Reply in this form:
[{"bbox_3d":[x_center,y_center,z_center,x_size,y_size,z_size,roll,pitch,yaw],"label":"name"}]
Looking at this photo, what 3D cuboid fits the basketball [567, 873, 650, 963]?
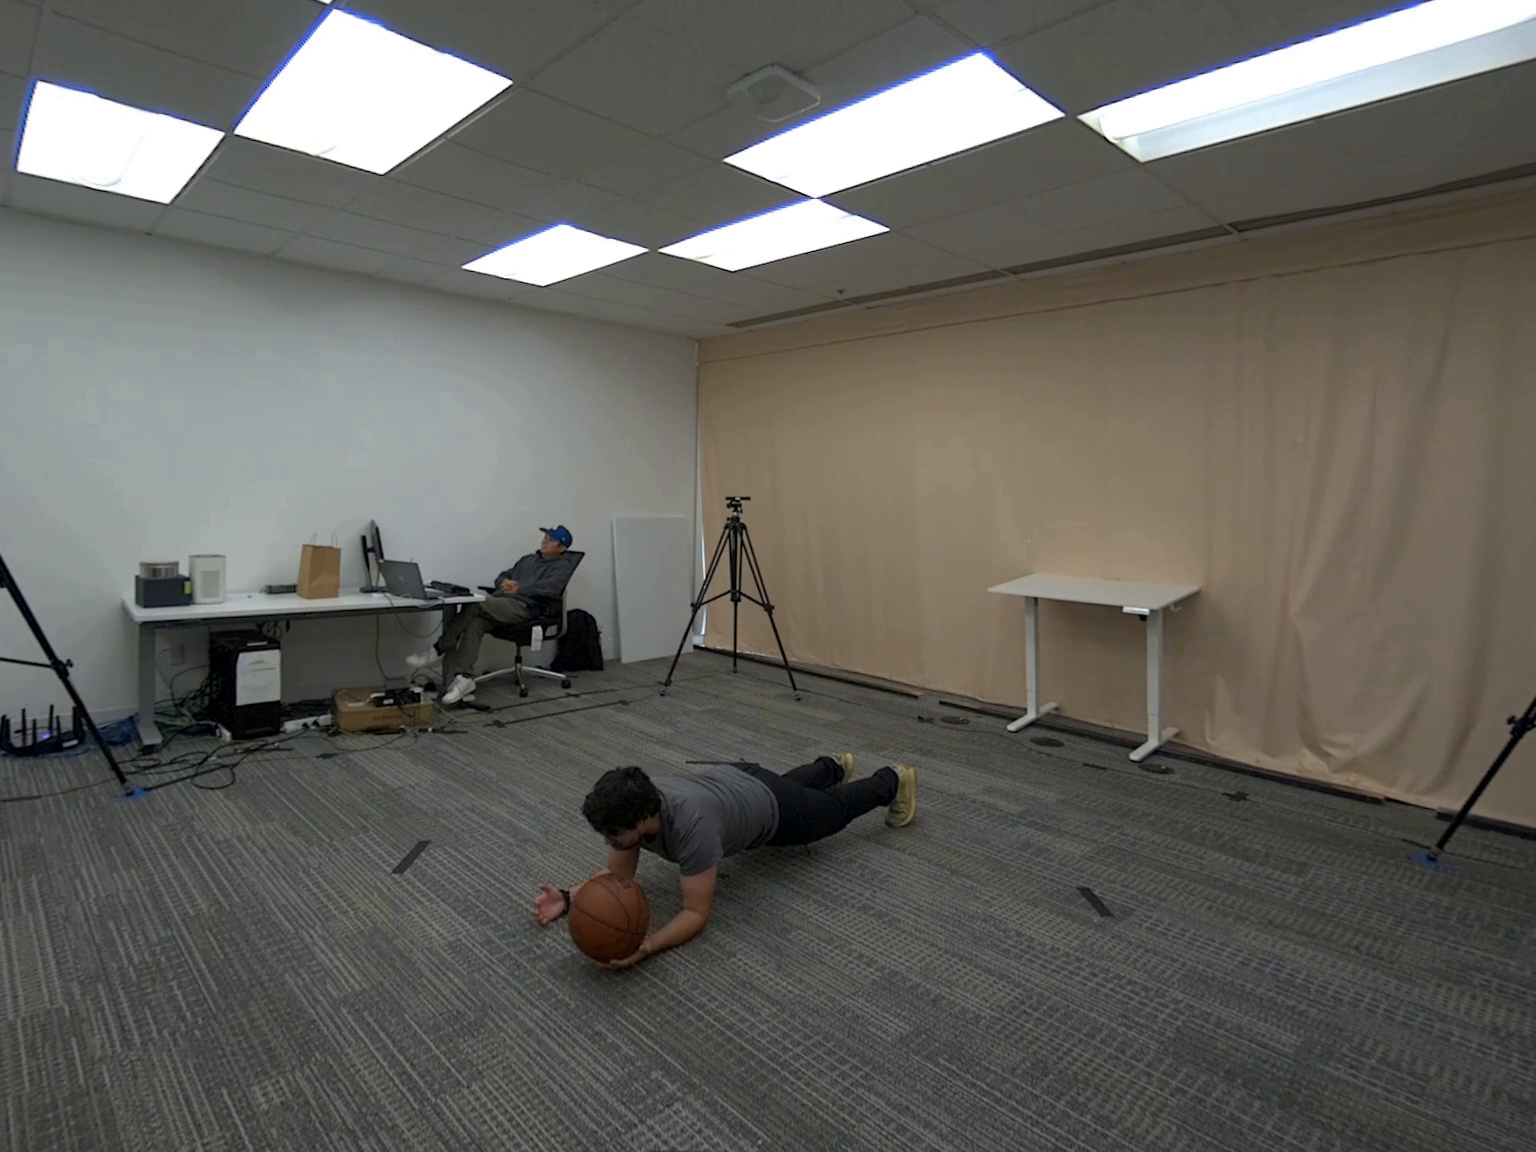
[{"bbox_3d":[-0.483,1.009,2.478,0.236,0.235,0.237,1,4,-1],"label":"basketball"}]
